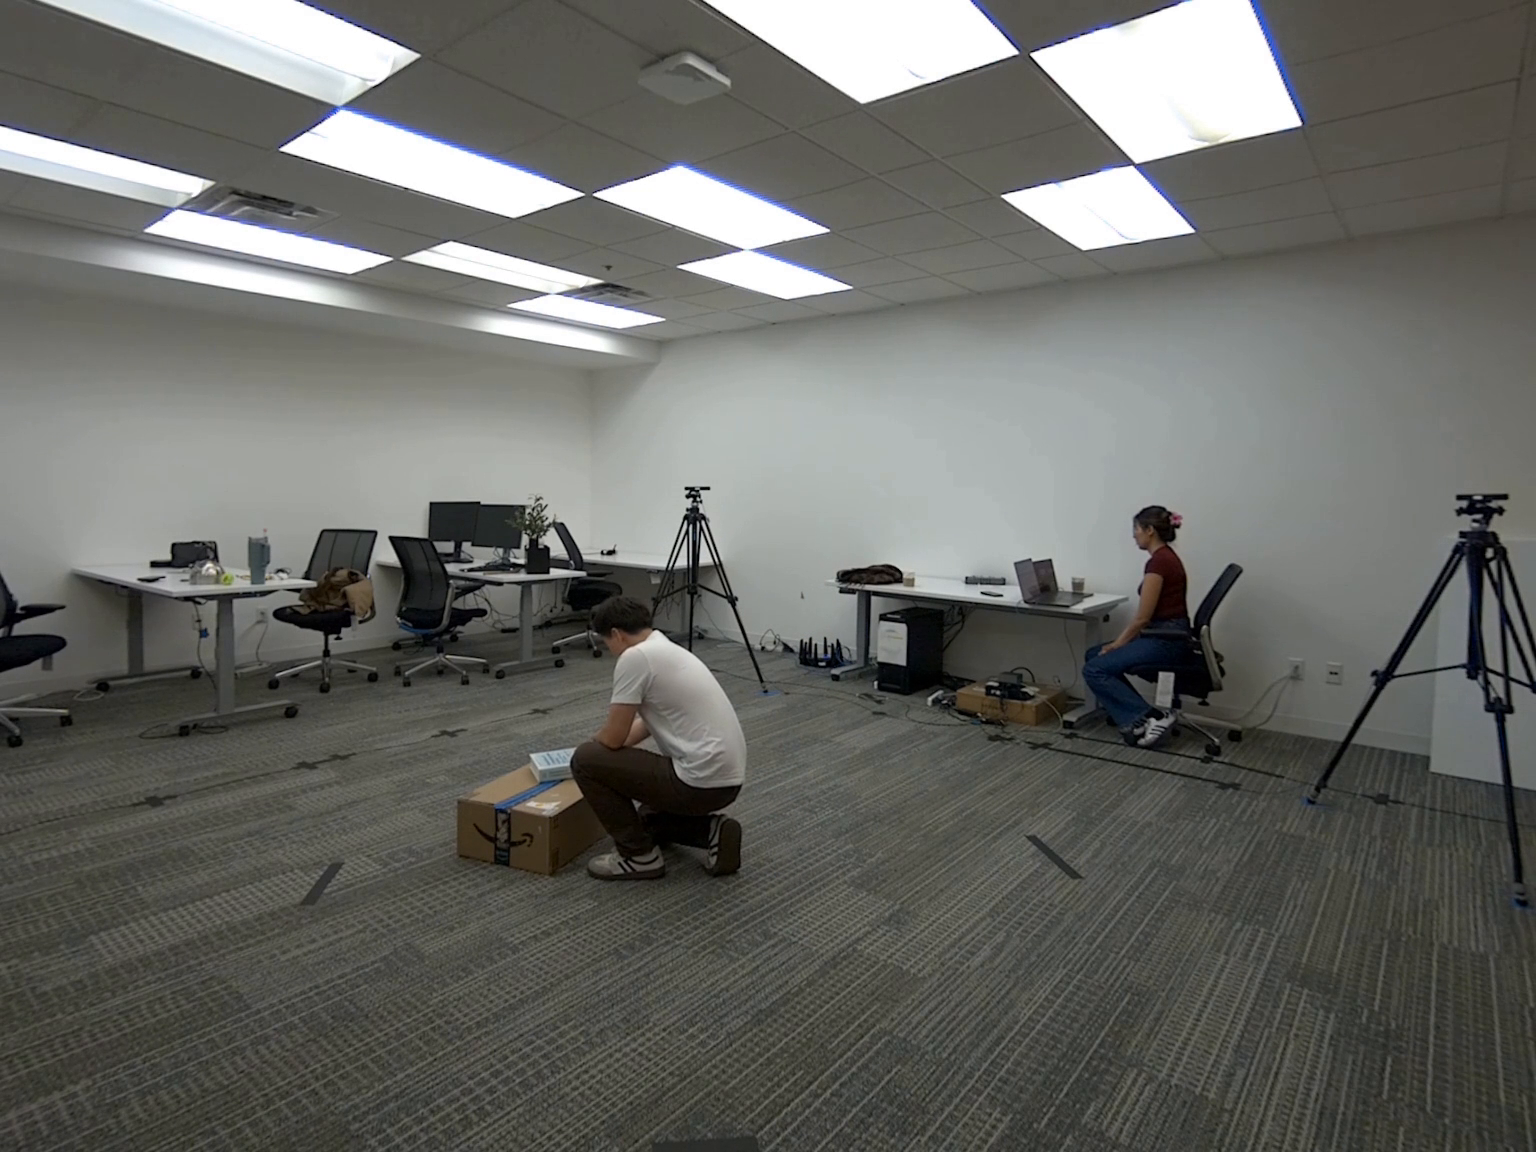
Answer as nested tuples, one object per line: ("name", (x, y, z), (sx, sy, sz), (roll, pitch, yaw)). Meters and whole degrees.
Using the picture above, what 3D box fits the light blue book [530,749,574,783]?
("light blue book", (-0.851, 0.774, 3.519), (0.255, 0.058, 0.197), (-3, 8, -26))
